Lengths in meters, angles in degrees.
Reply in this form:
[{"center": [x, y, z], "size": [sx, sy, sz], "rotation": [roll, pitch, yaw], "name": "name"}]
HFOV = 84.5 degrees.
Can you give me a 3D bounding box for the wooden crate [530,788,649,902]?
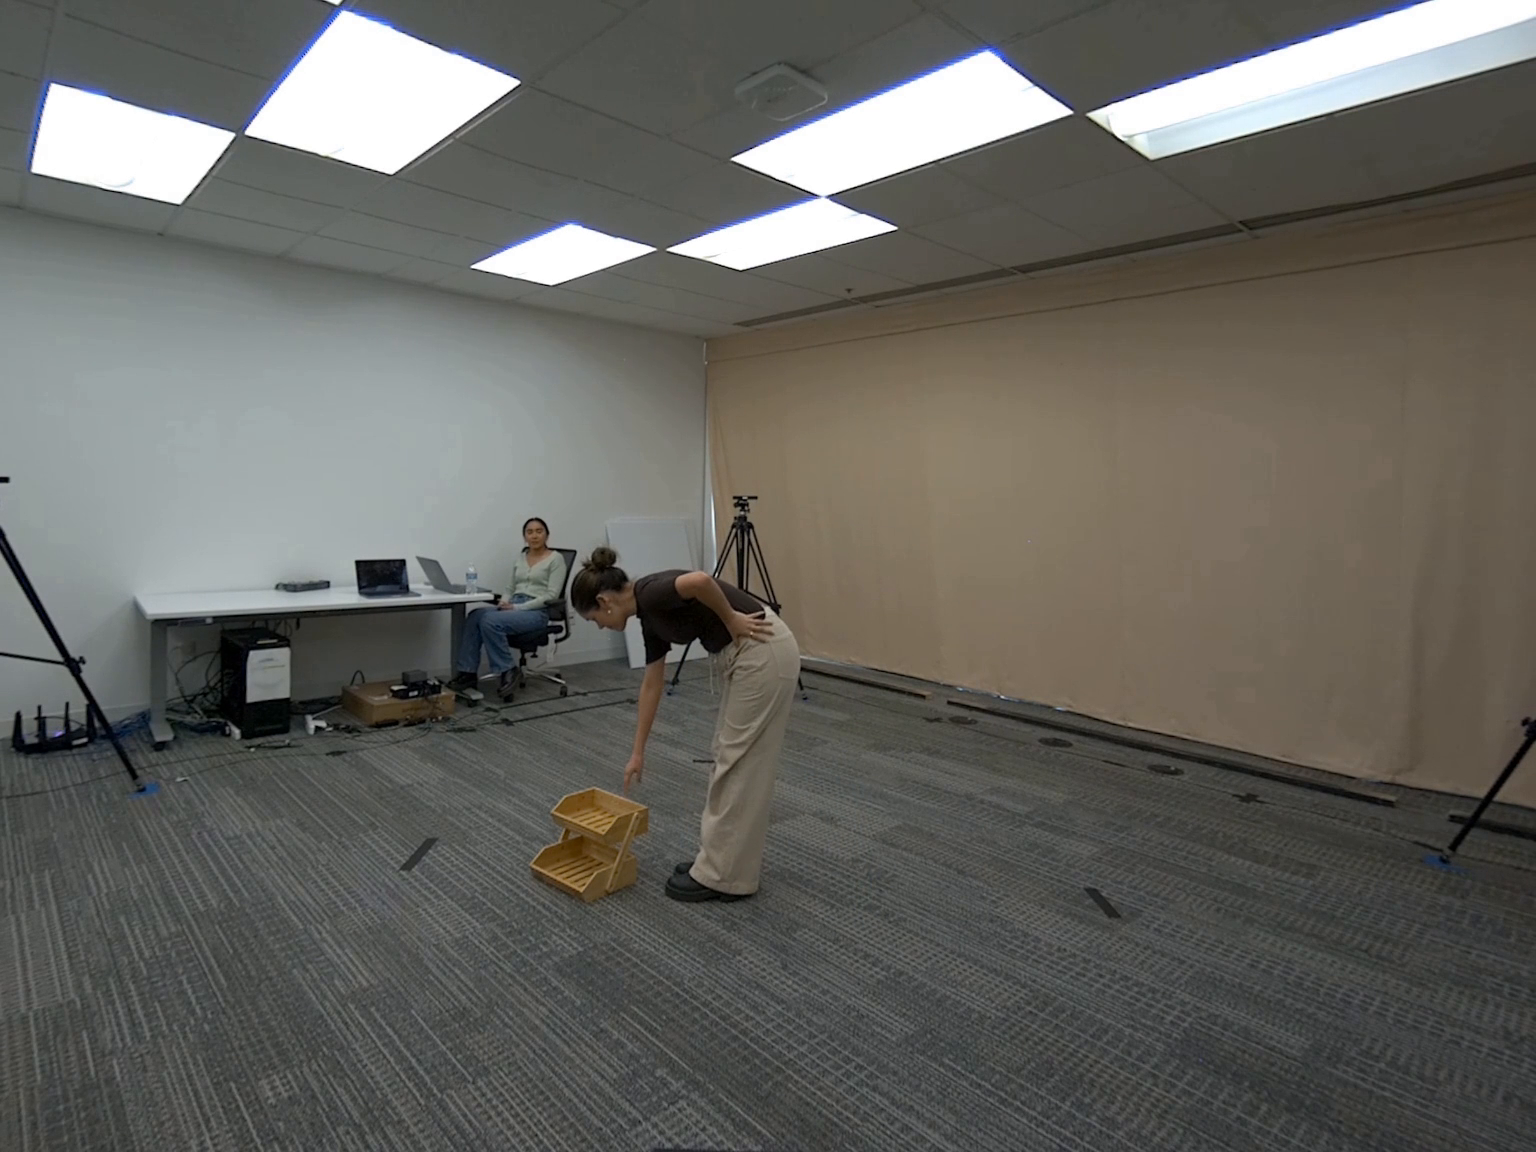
[{"center": [-0.651, 0.956, 3.049], "size": [0.333, 0.273, 0.295], "rotation": [5, 5, 40], "name": "wooden crate"}]
